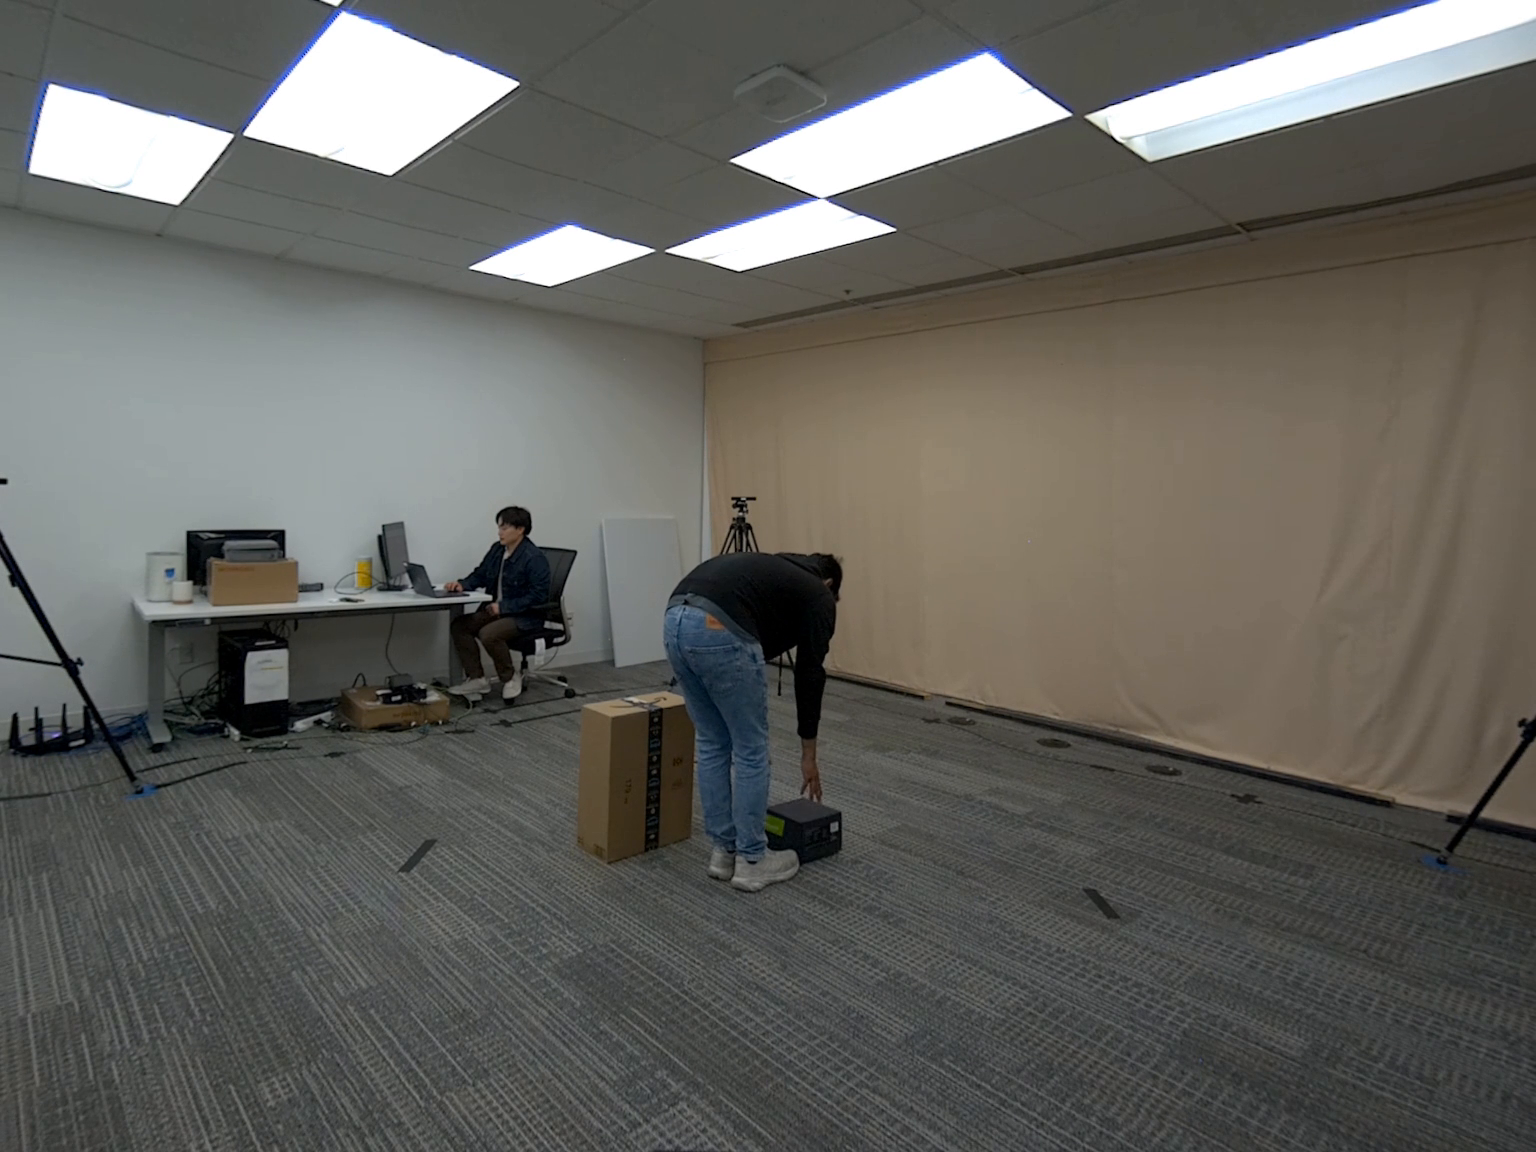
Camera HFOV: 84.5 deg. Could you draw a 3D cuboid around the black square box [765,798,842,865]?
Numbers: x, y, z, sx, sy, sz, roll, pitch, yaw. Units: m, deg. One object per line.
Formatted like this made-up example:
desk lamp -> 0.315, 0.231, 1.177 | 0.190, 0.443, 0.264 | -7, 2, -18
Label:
black square box -> 0.133, 0.997, 3.354 | 0.212, 0.155, 0.233 | -3, 4, -38
